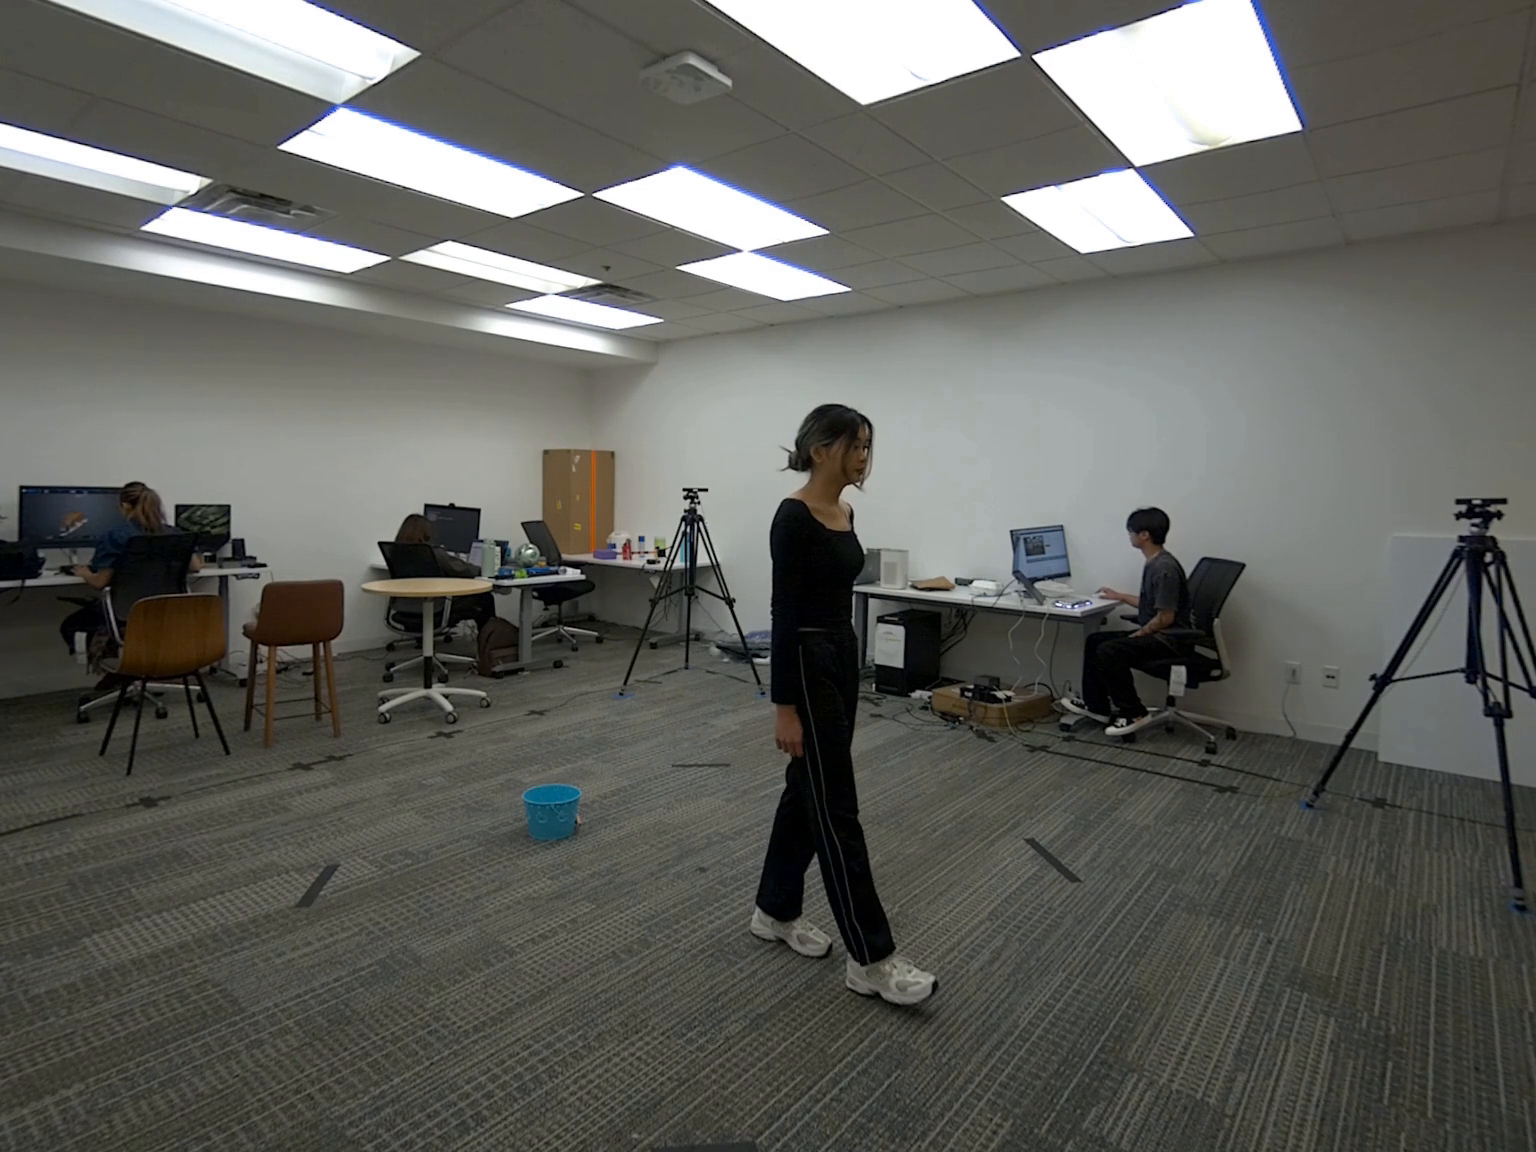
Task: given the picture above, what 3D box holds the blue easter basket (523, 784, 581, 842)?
[{"bbox_3d":[-0.882,0.946,3.435,0.243,0.155,0.245,1,4,-2],"label":"blue easter basket"}]
